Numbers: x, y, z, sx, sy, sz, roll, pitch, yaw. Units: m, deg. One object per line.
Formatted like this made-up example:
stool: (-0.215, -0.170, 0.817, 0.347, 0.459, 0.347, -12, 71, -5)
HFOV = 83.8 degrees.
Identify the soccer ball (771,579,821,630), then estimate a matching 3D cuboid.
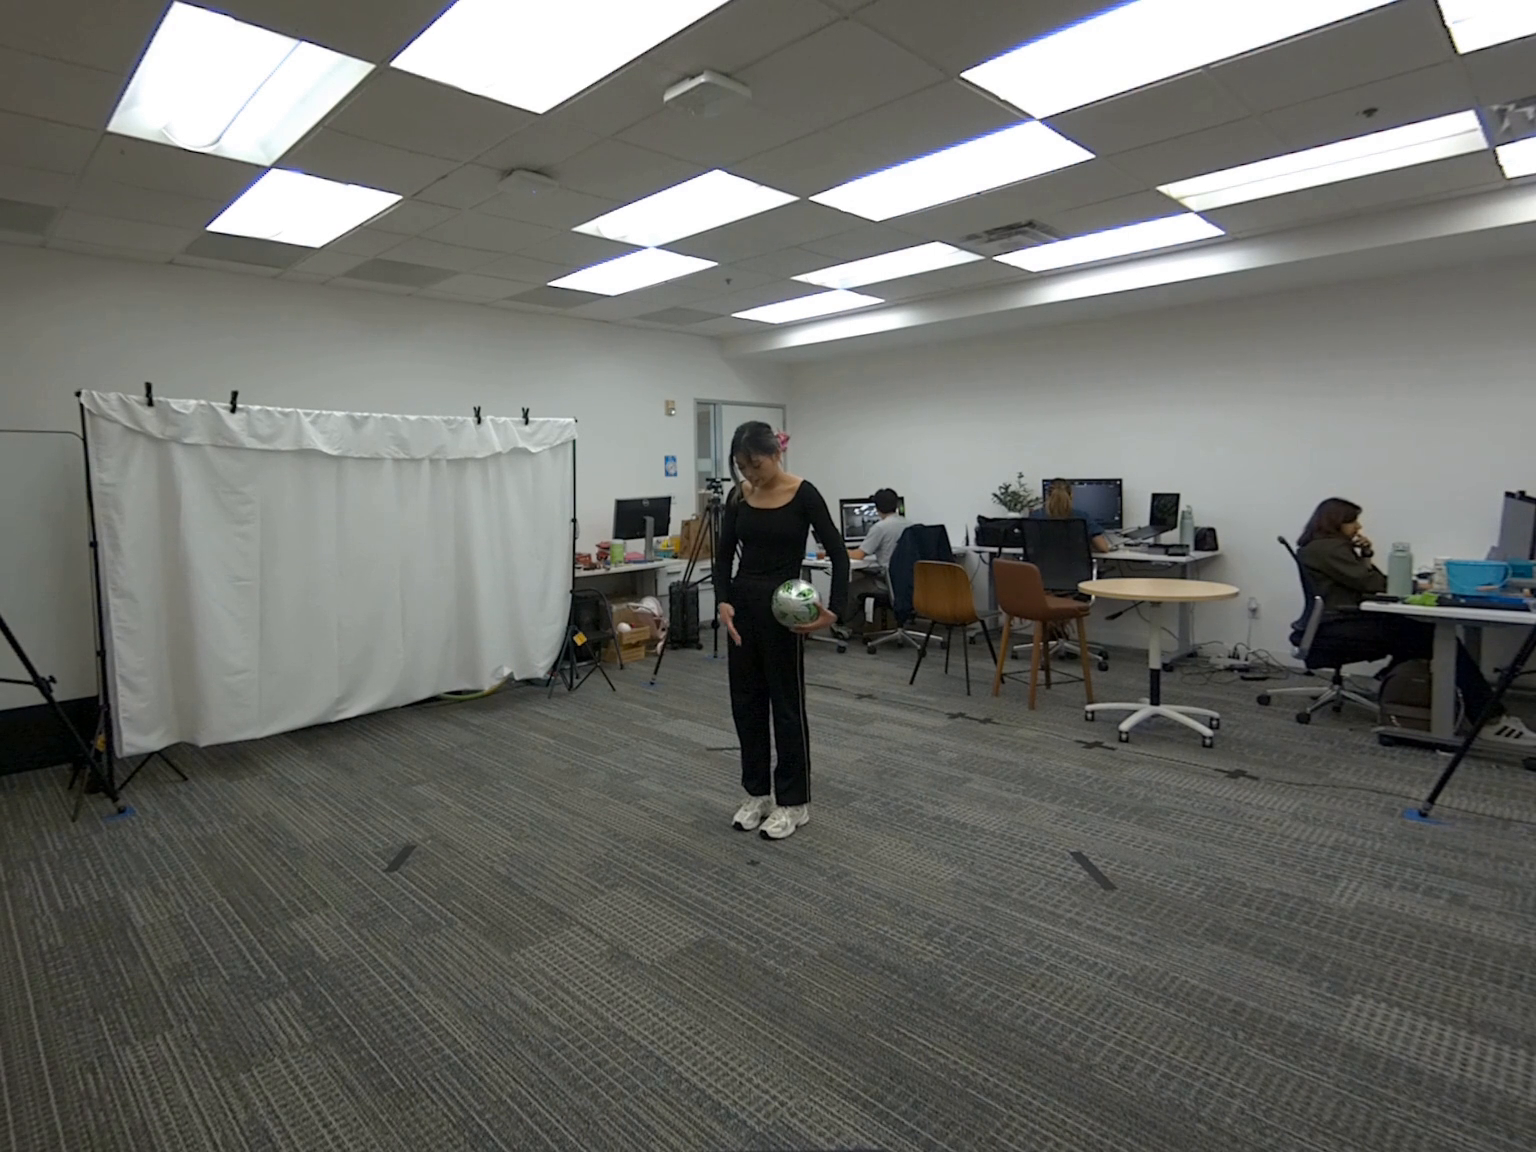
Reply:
soccer ball: (0.108, 0.112, 3.168, 0.187, 0.187, 0.188, -1, 5, -2)
